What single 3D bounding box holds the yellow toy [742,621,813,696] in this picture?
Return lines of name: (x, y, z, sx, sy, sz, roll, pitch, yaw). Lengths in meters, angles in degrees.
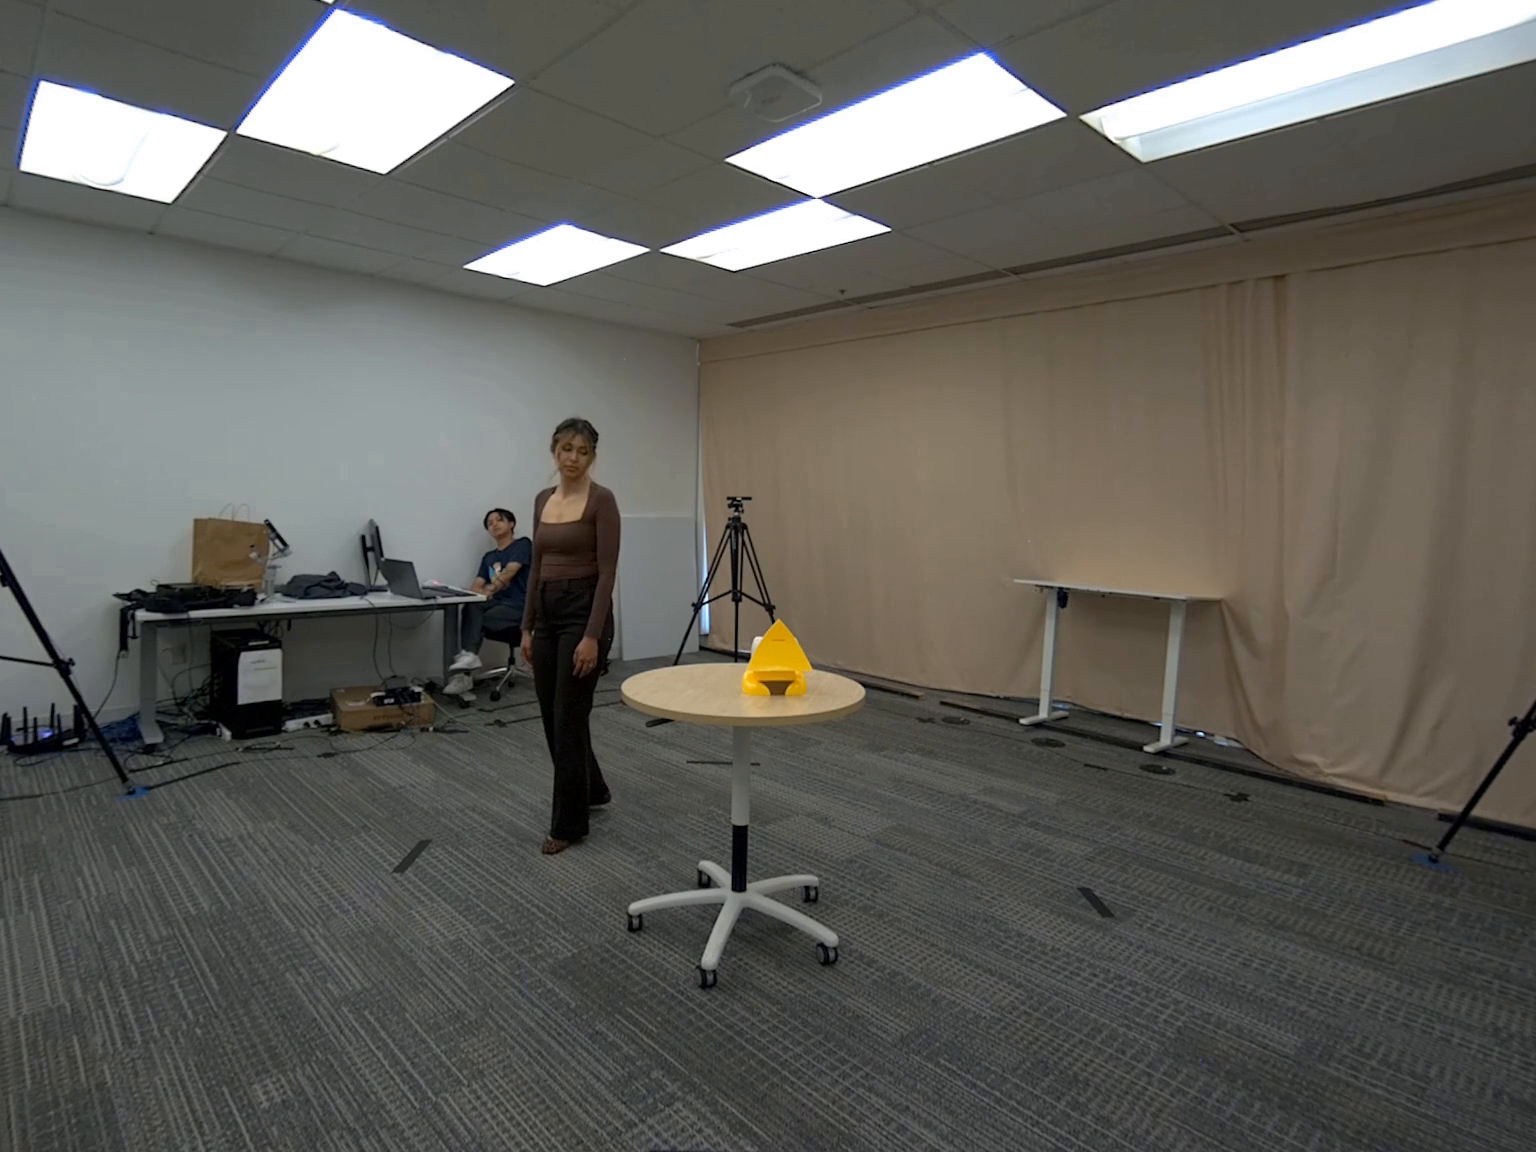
yellow toy: (0.015, 0.242, 2.602, 0.203, 0.230, 0.195, 1, 4, -8)
